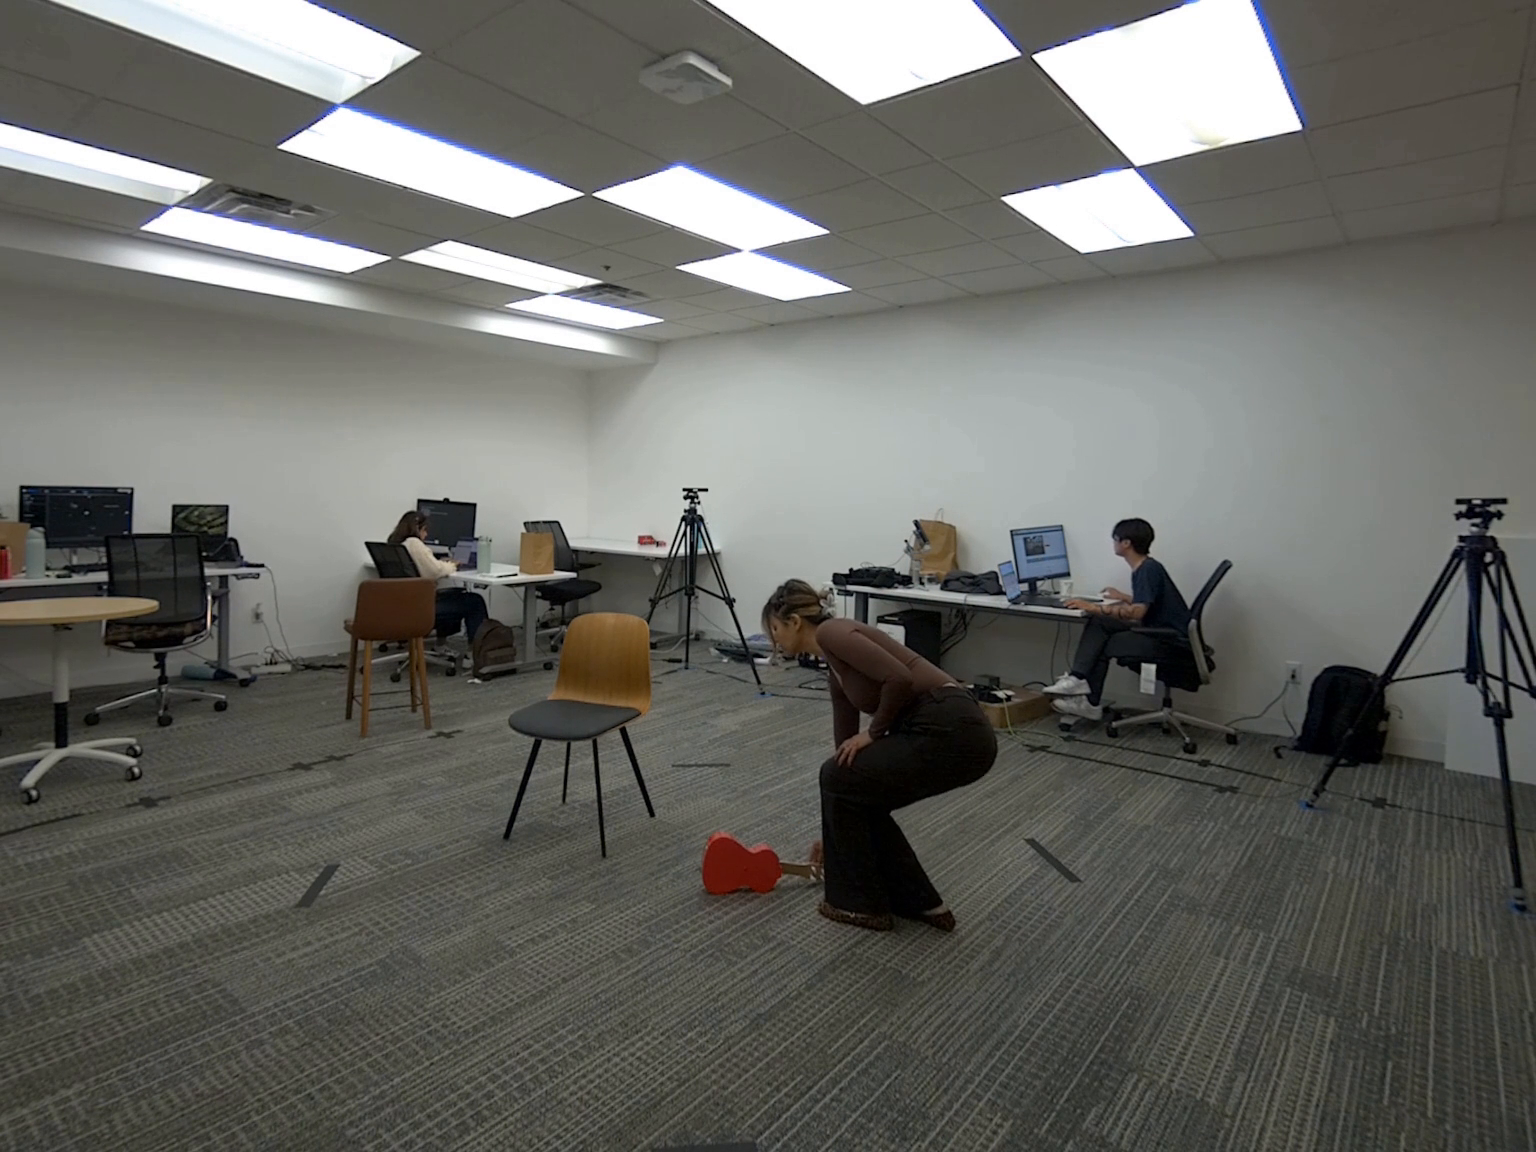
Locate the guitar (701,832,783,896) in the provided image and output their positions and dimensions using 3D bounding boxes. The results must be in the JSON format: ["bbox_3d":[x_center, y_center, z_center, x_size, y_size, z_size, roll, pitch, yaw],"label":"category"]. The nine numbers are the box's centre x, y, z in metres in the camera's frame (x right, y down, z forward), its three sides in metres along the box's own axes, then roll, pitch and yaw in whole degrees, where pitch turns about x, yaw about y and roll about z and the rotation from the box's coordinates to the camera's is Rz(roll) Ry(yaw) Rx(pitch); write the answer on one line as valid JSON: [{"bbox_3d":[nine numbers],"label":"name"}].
[{"bbox_3d":[0.010,0.997,2.976,0.493,0.193,0.071,1,-2,-9],"label":"guitar"}]
